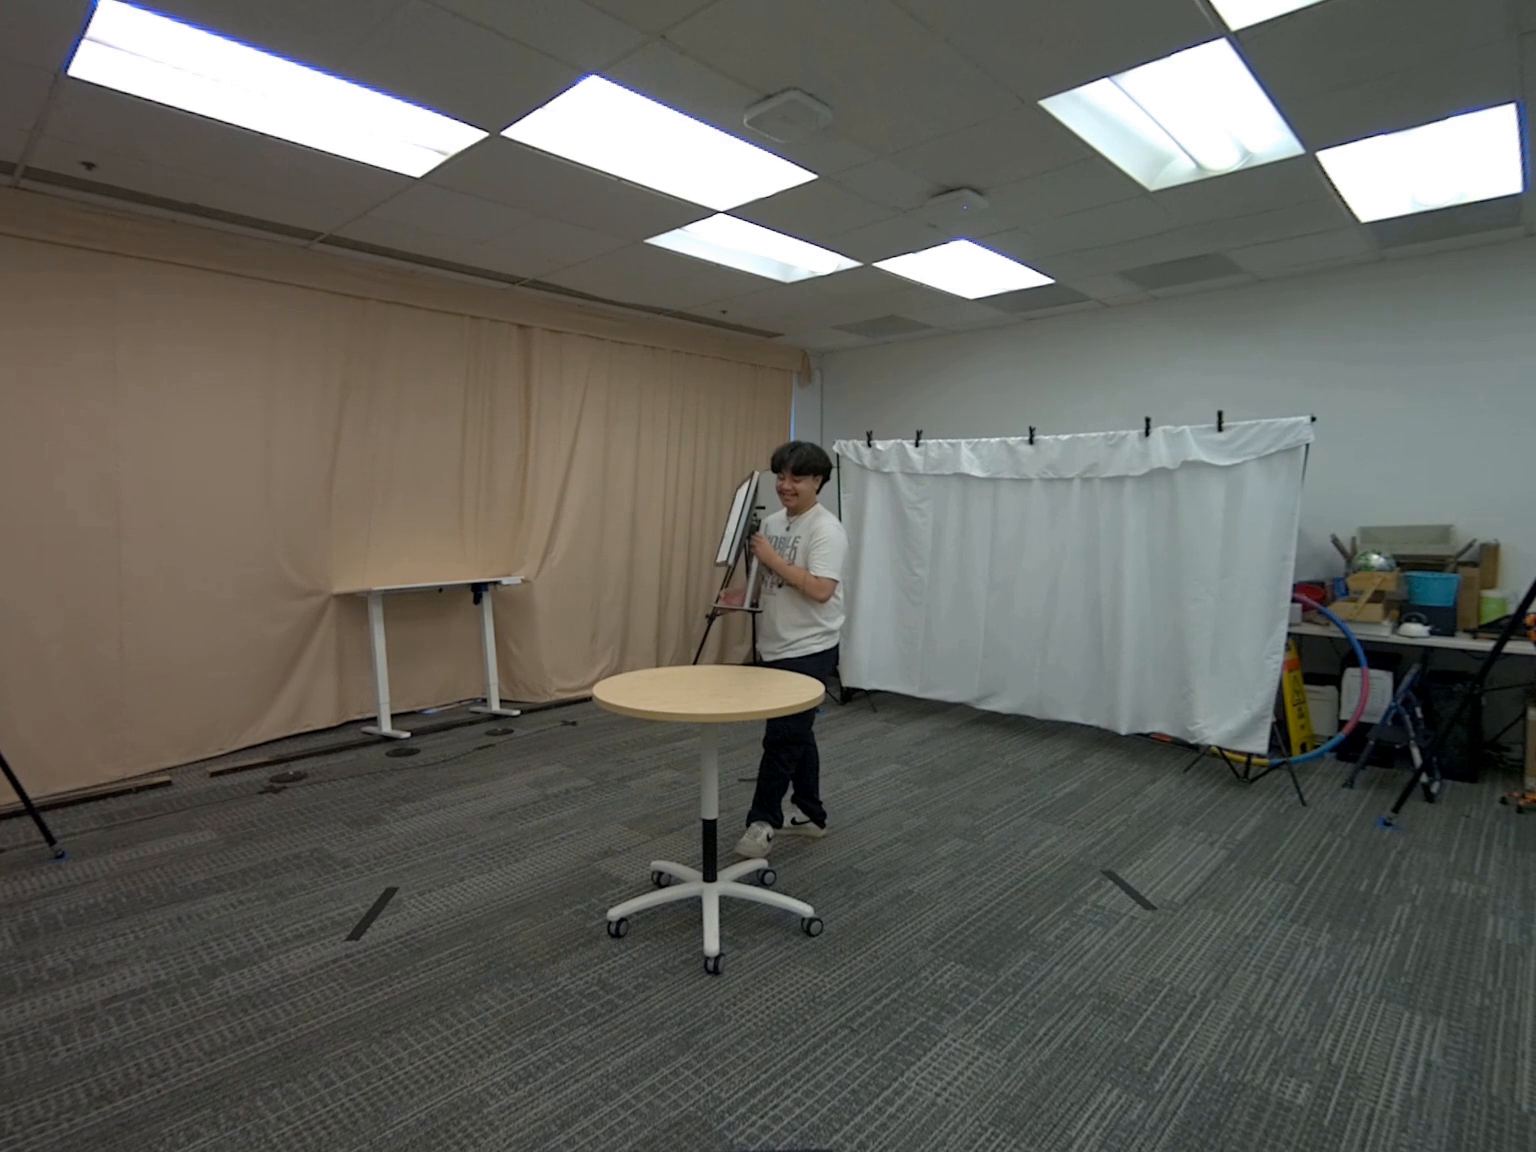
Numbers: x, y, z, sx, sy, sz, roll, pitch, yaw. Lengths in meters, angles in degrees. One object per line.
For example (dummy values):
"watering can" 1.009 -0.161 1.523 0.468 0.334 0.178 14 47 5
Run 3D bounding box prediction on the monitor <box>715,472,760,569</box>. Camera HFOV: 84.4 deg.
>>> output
"monitor" -0.078 -0.118 3.387 0.208 0.554 0.569 11 -2 -8
